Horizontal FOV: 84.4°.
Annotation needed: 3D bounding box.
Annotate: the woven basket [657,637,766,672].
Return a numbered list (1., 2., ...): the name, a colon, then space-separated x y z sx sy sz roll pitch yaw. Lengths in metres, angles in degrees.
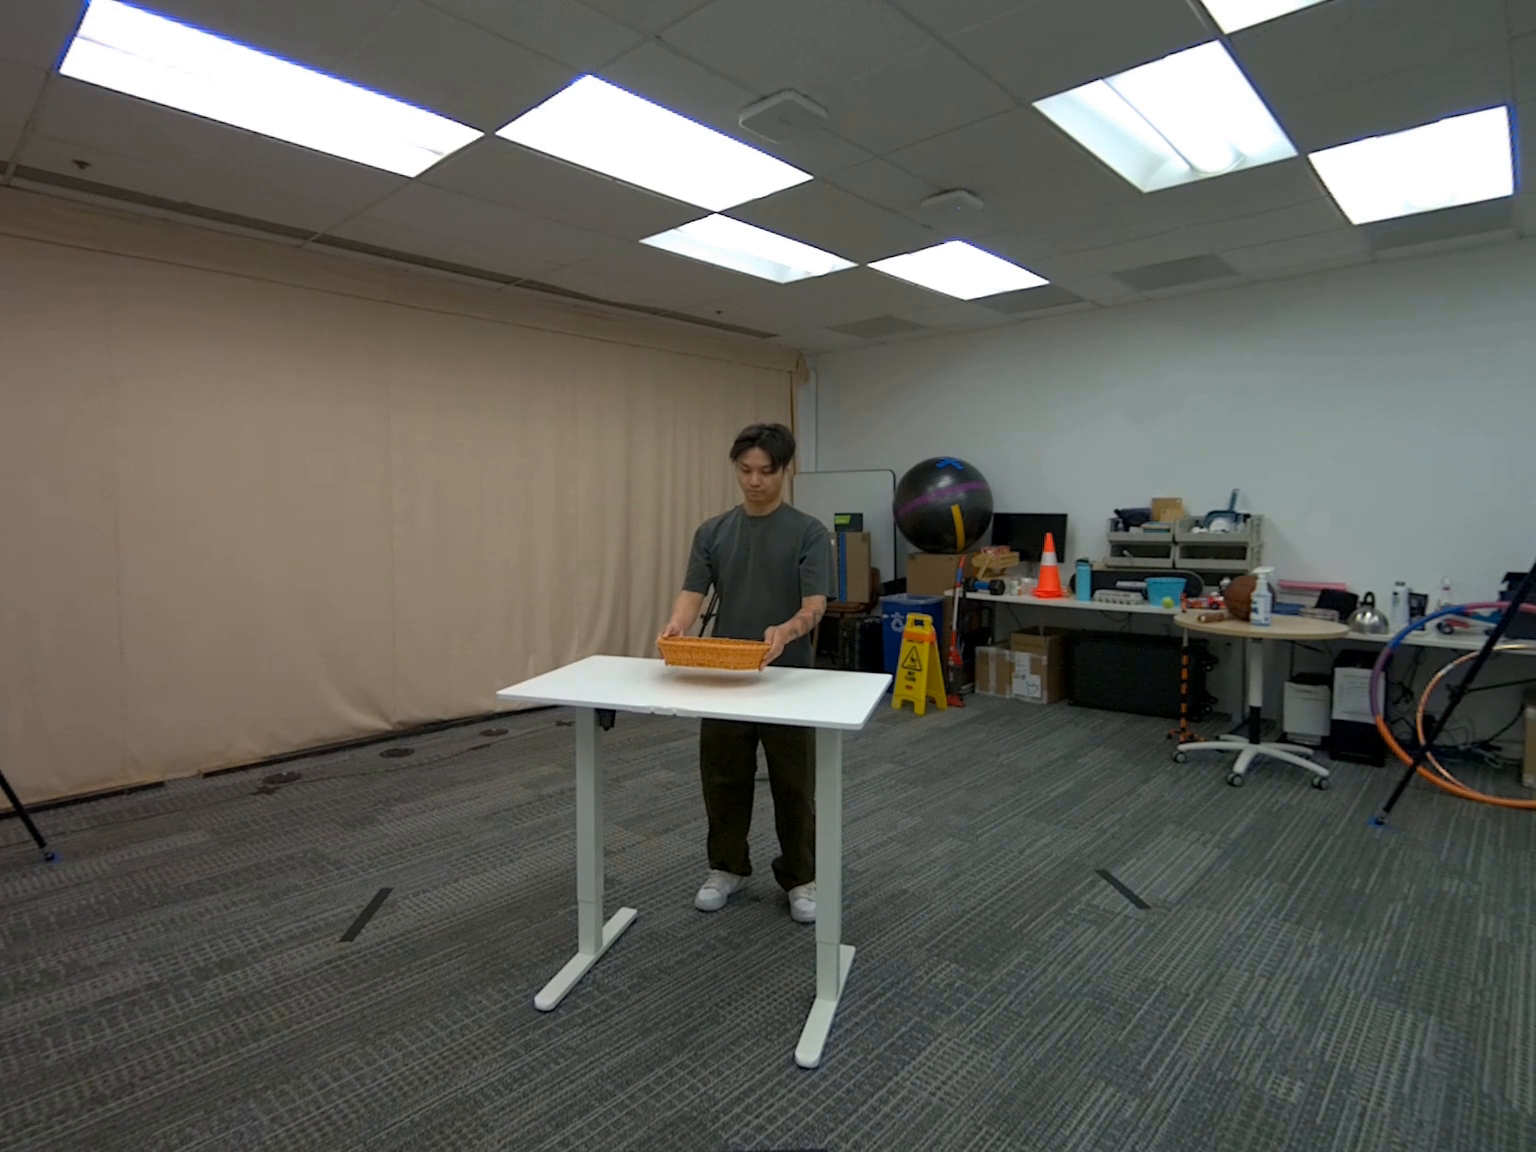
1. woven basket: -0.136 0.234 2.463 0.360 0.073 0.246 2 0 26
